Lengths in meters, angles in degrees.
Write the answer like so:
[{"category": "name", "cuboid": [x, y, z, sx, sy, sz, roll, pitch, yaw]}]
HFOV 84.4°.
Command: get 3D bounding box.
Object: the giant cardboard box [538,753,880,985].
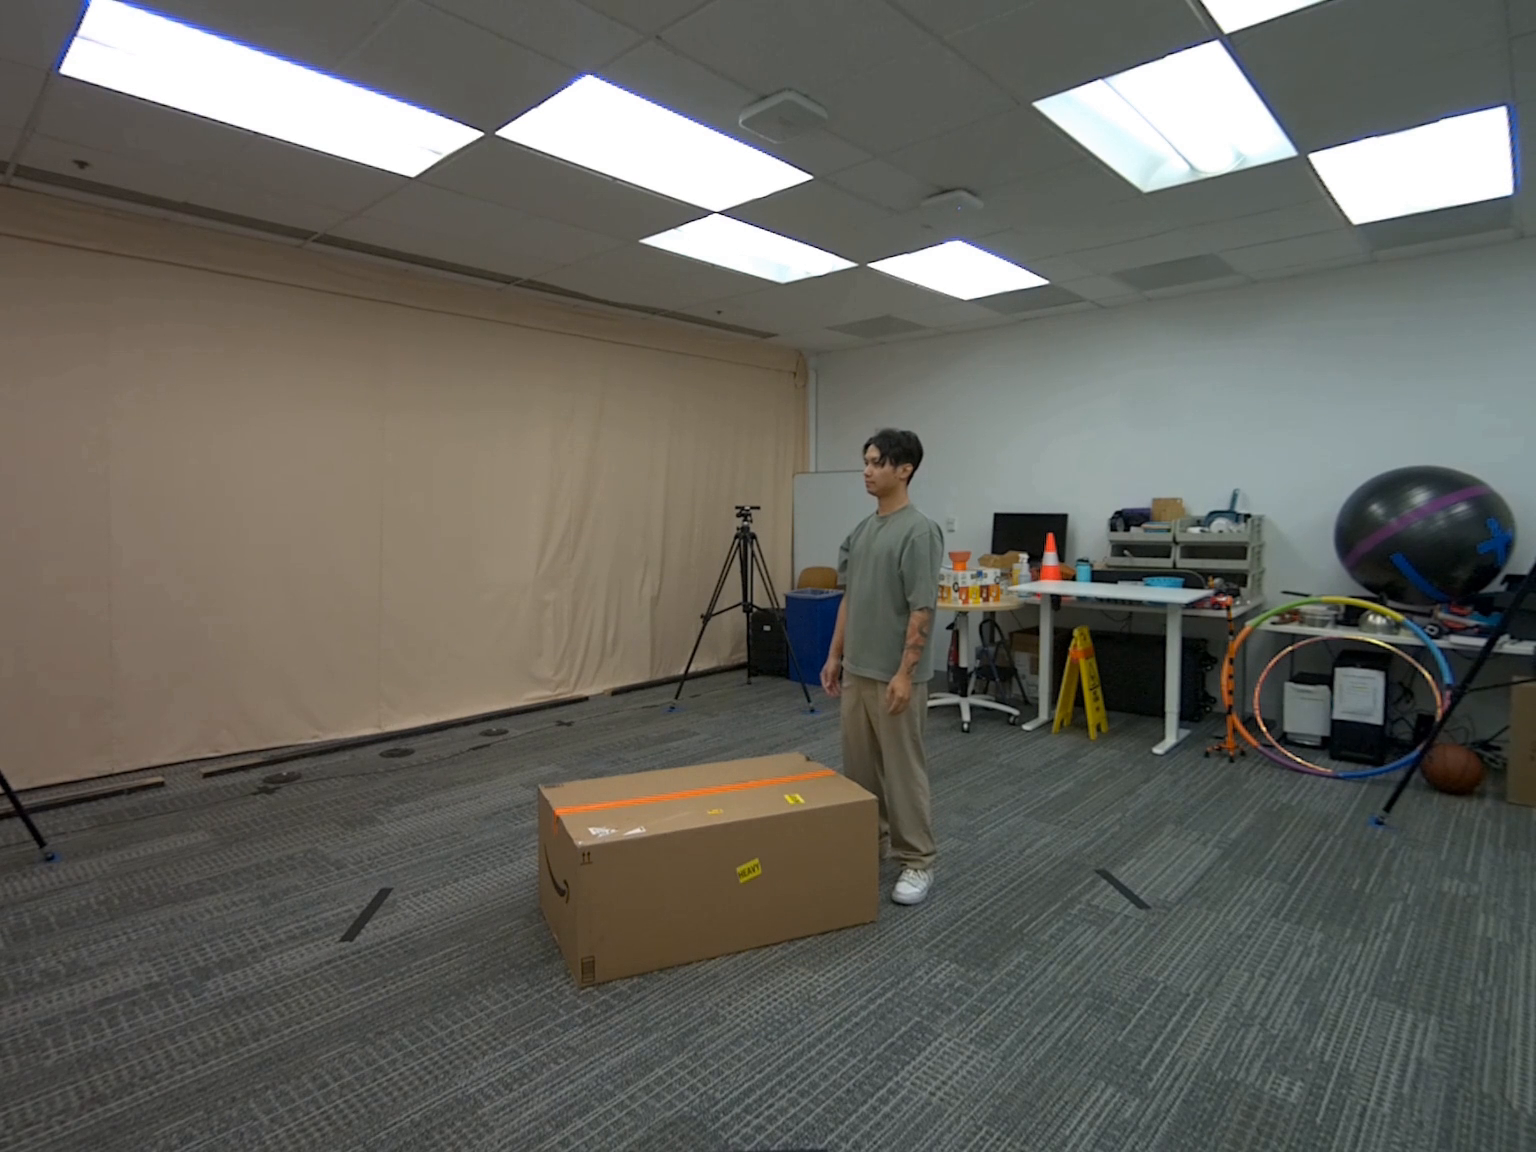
[{"category": "giant cardboard box", "cuboid": [-0.215, 0.941, 2.869, 1.003, 0.425, 0.592, -2, 4, -24]}]
